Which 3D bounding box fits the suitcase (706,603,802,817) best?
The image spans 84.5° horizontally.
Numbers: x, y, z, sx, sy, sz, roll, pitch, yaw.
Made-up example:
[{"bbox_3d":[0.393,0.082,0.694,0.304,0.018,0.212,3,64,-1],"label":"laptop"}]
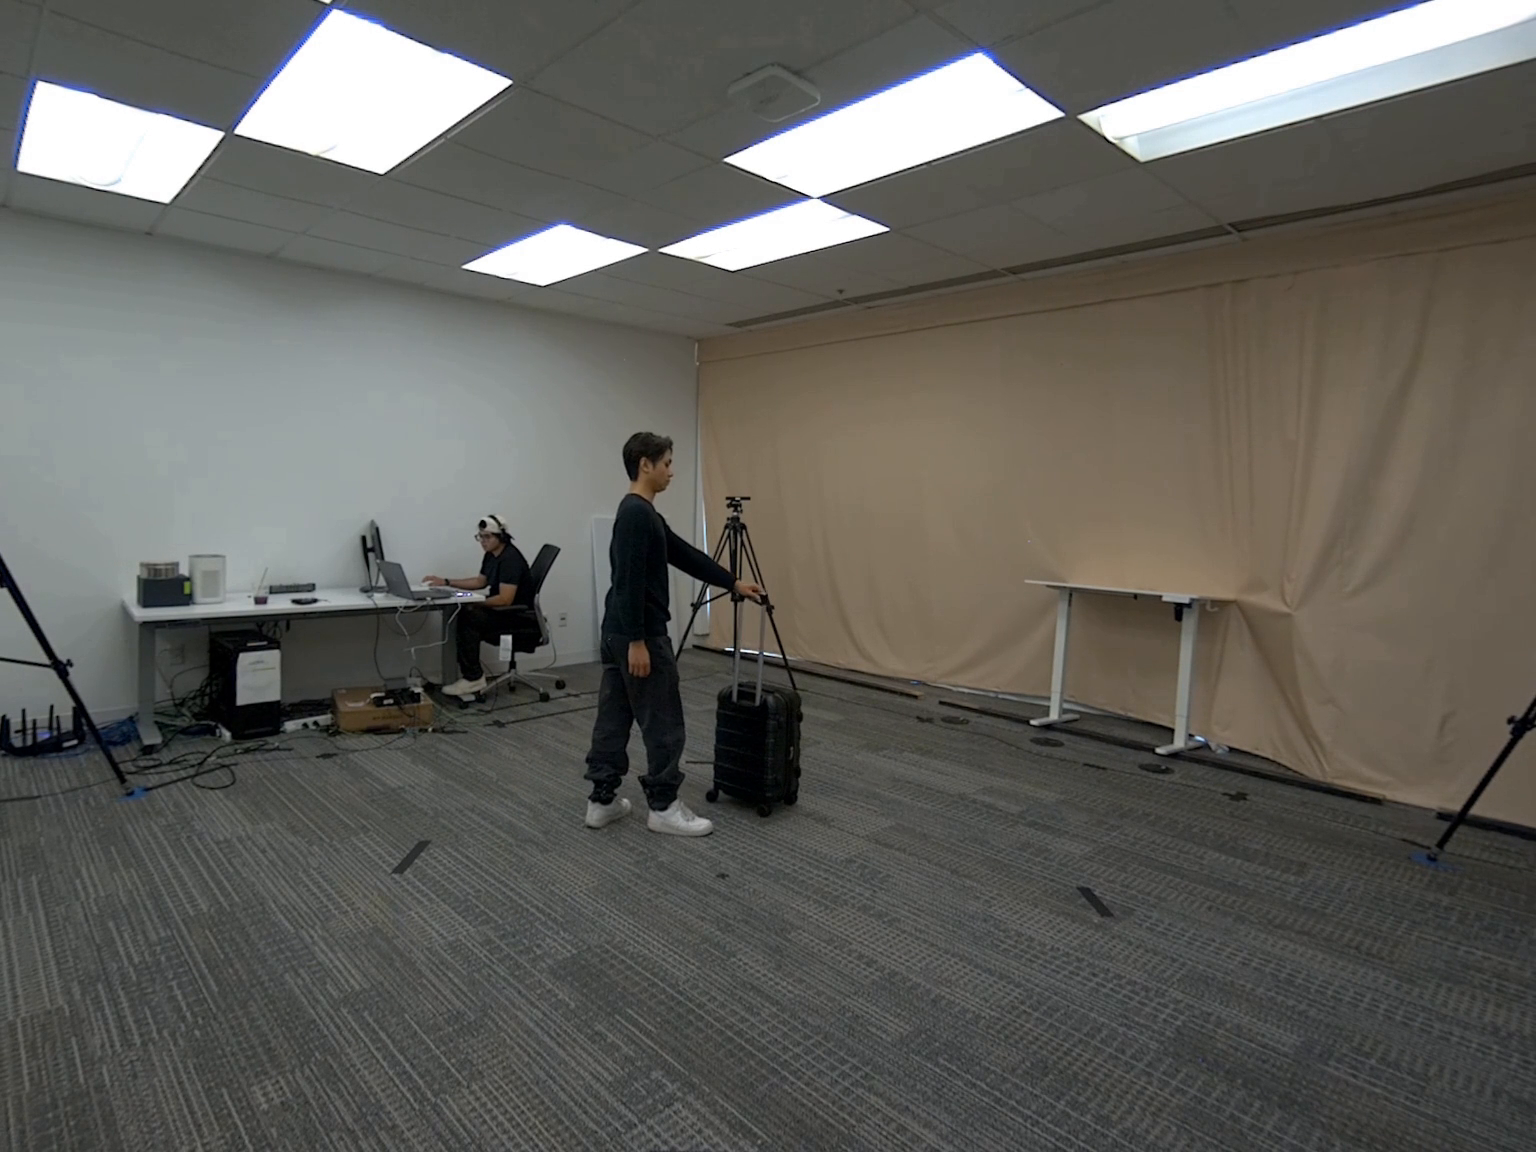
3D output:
[{"bbox_3d":[-0.045,0.567,3.855,0.393,0.977,0.251,6,3,37],"label":"suitcase"}]
